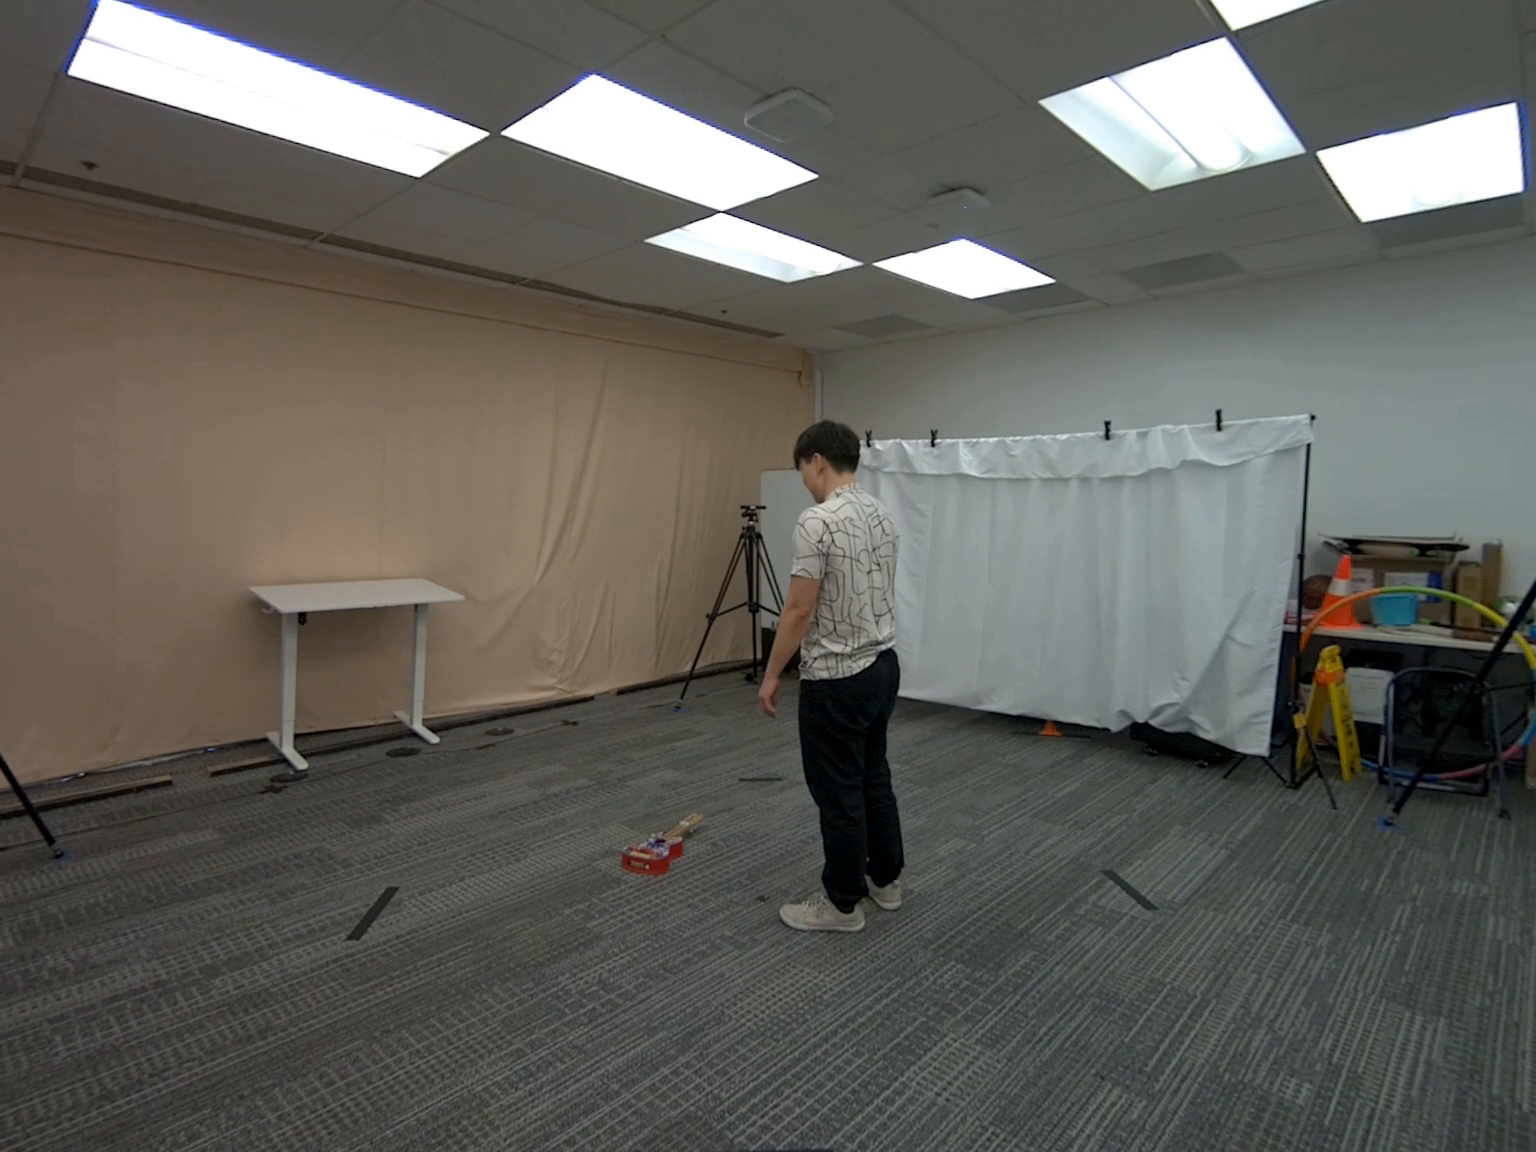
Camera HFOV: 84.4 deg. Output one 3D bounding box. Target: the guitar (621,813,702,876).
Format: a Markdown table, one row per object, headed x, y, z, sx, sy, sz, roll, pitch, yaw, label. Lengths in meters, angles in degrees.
| x | y | z | sx | sy | sz | roll | pitch | yaw | label |
| --- | --- | --- | --- | --- | --- | --- | --- | --- | --- |
| -0.375 | 1.079 | 3.402 | 0.199 | 0.070 | 0.484 | 2 | 6 | 34 | guitar |
